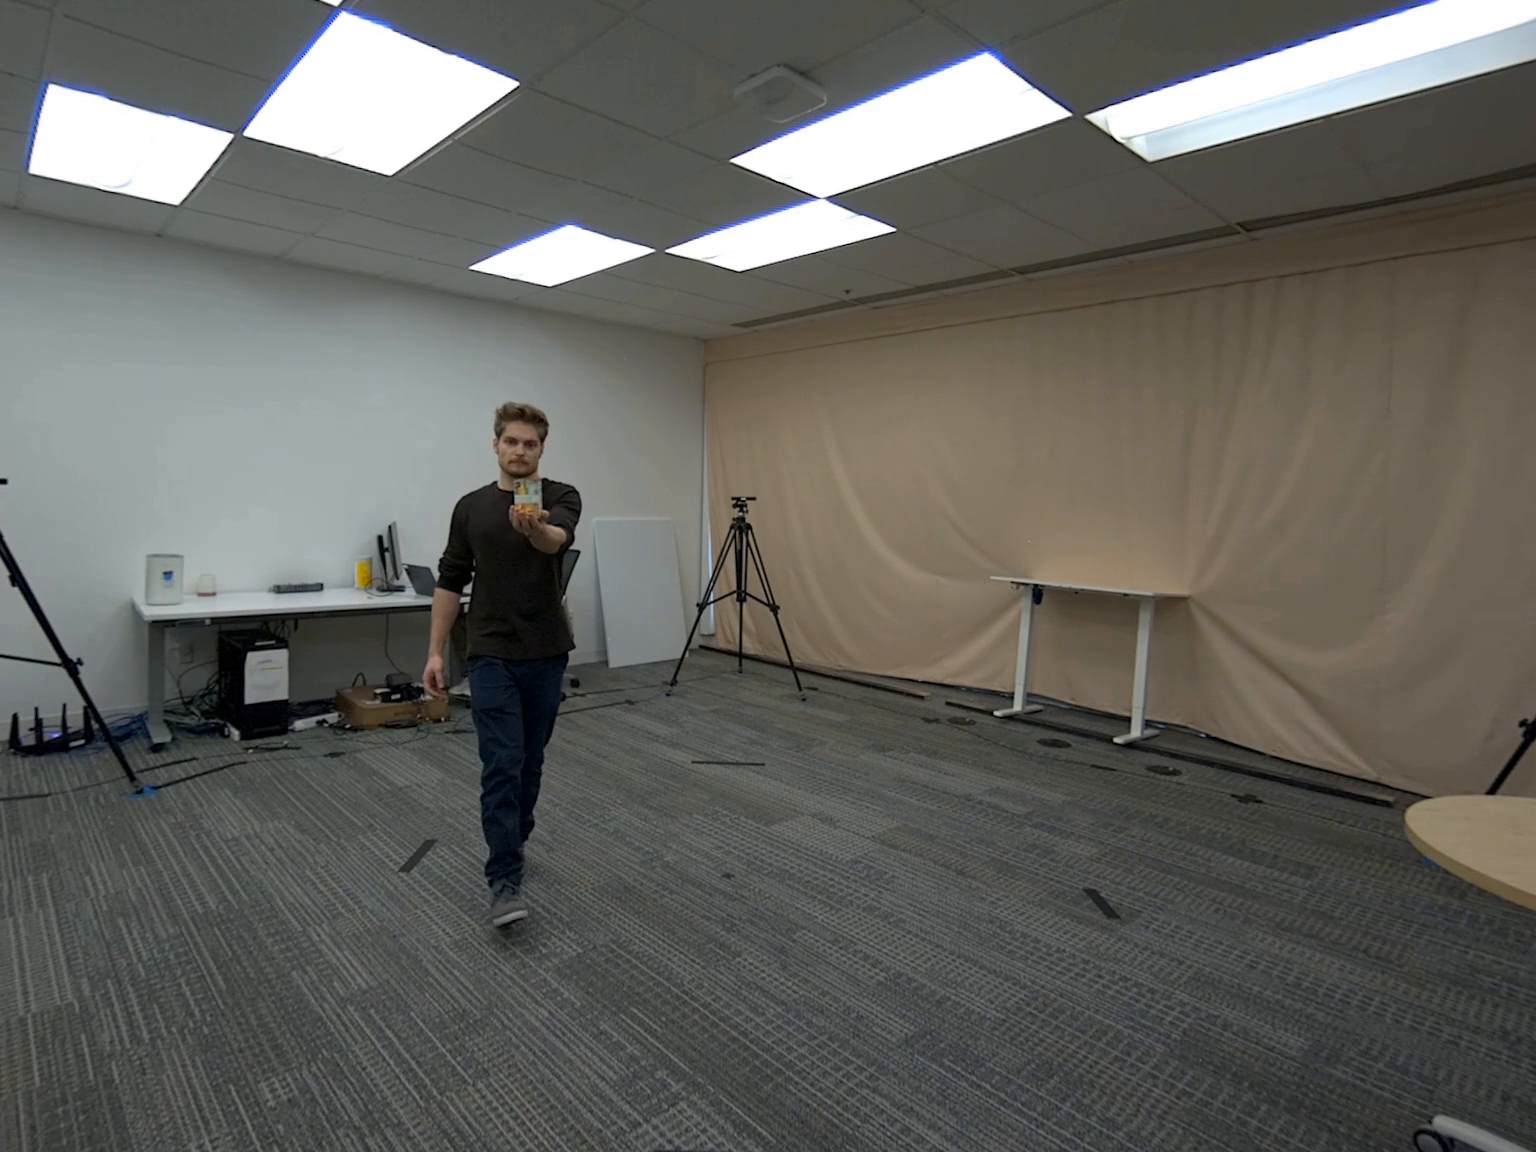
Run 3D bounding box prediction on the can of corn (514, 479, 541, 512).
[{"bbox_3d":[-0.687,-0.212,2.371,0.074,0.111,0.074,-4,1,-1],"label":"can of corn"}]
